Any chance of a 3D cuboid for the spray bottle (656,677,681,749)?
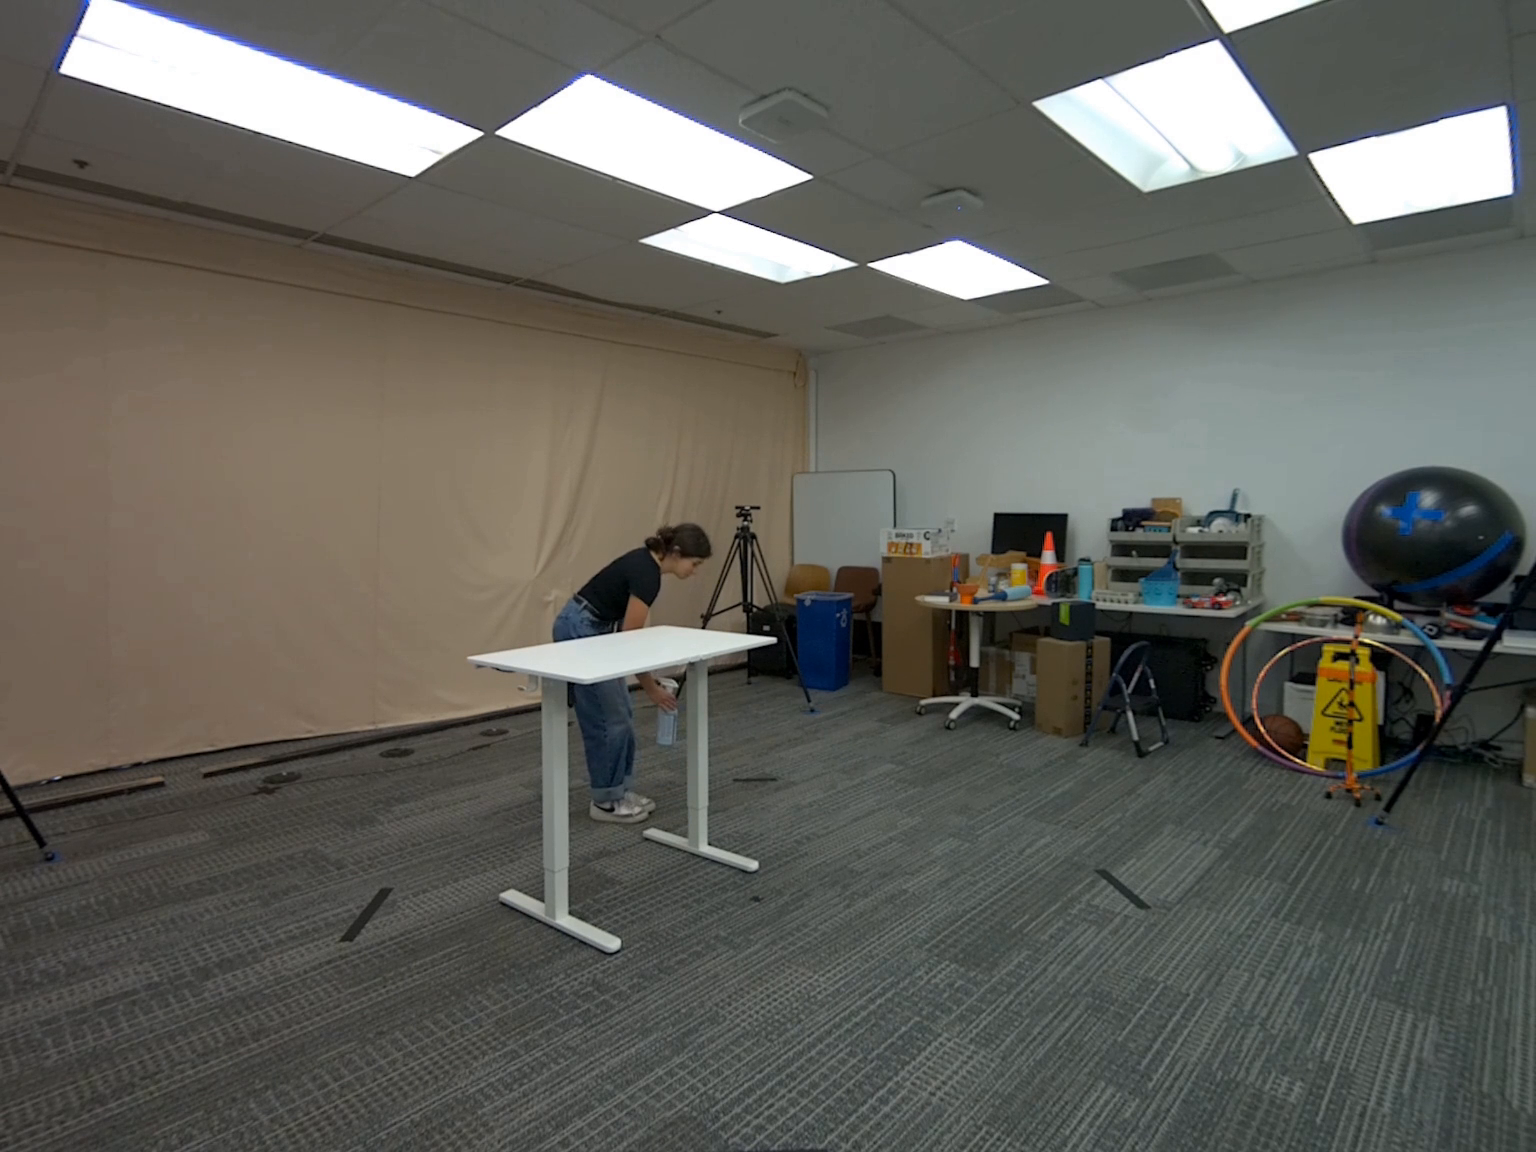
[{"bbox_3d":[-0.449,0.608,3.749,0.093,0.298,0.084,0,-2,34],"label":"spray bottle"}]
